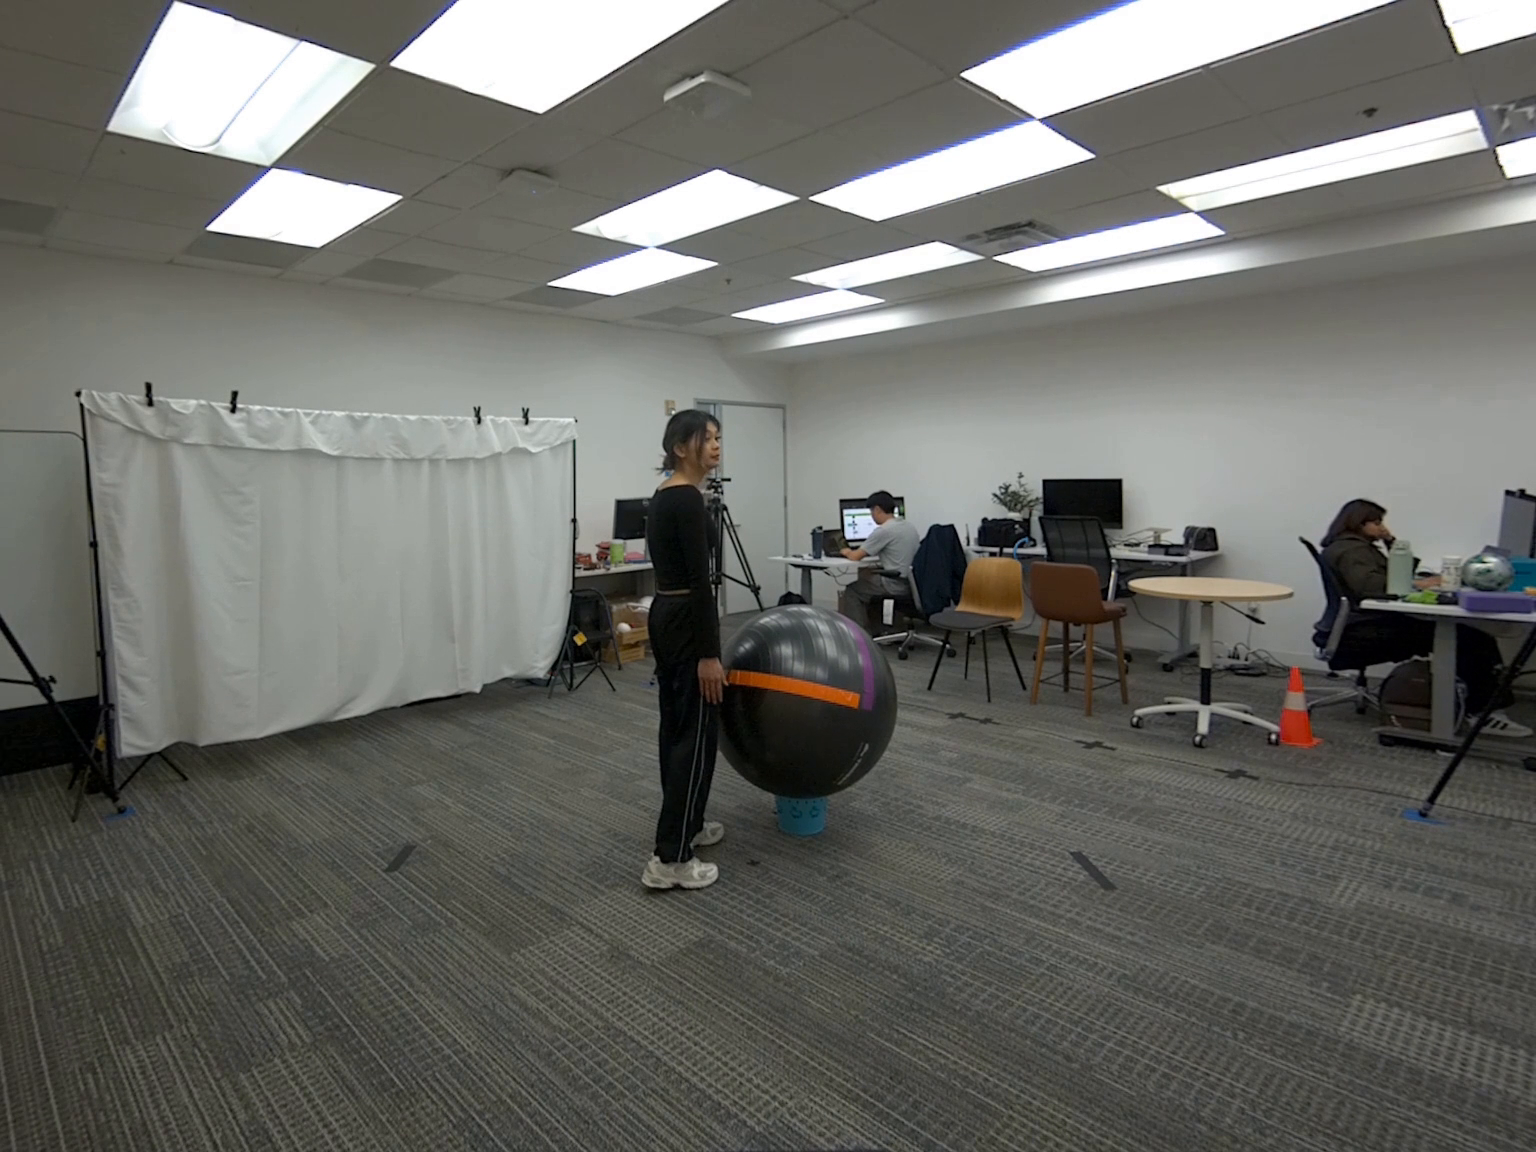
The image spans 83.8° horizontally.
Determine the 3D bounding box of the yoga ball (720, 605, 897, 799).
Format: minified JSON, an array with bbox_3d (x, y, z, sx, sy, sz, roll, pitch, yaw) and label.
[{"bbox_3d":[0.125,0.499,3.410,0.757,0.755,0.762,-1,5,-2],"label":"yoga ball"}]
